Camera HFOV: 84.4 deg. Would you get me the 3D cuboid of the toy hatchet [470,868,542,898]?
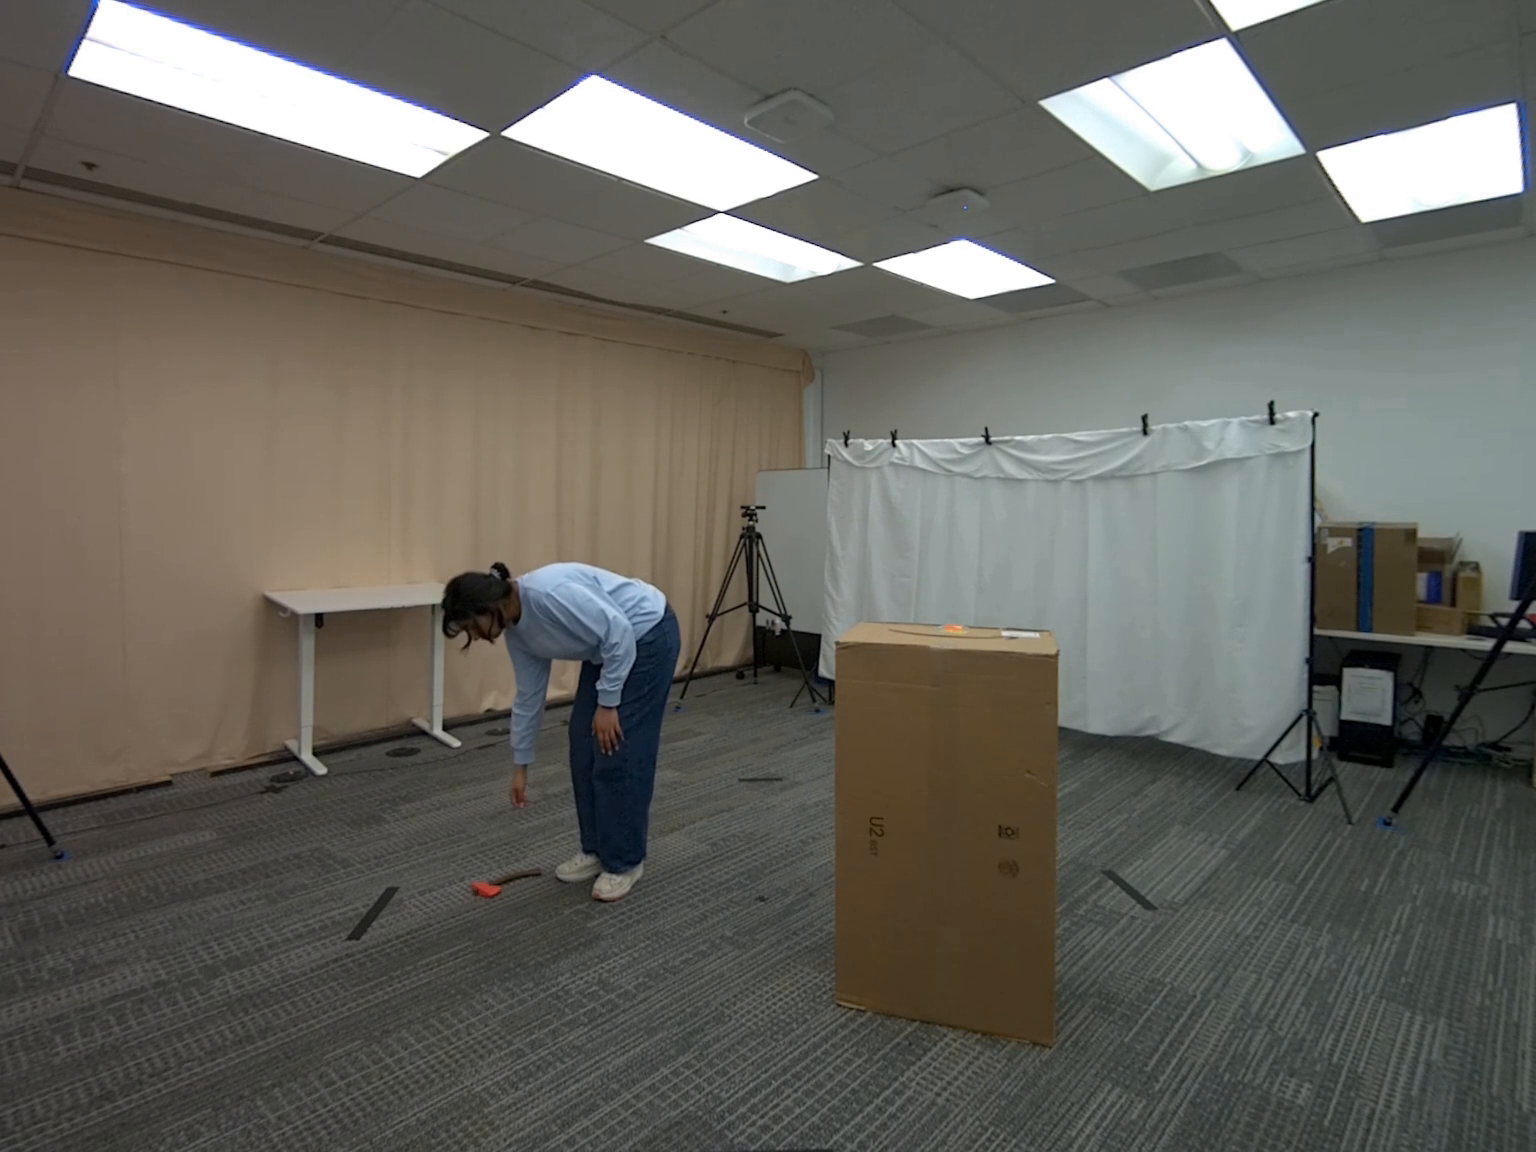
[{"bbox_3d":[-0.957,1.140,3.100,0.262,0.029,0.135,-1,3,-31],"label":"toy hatchet"}]
